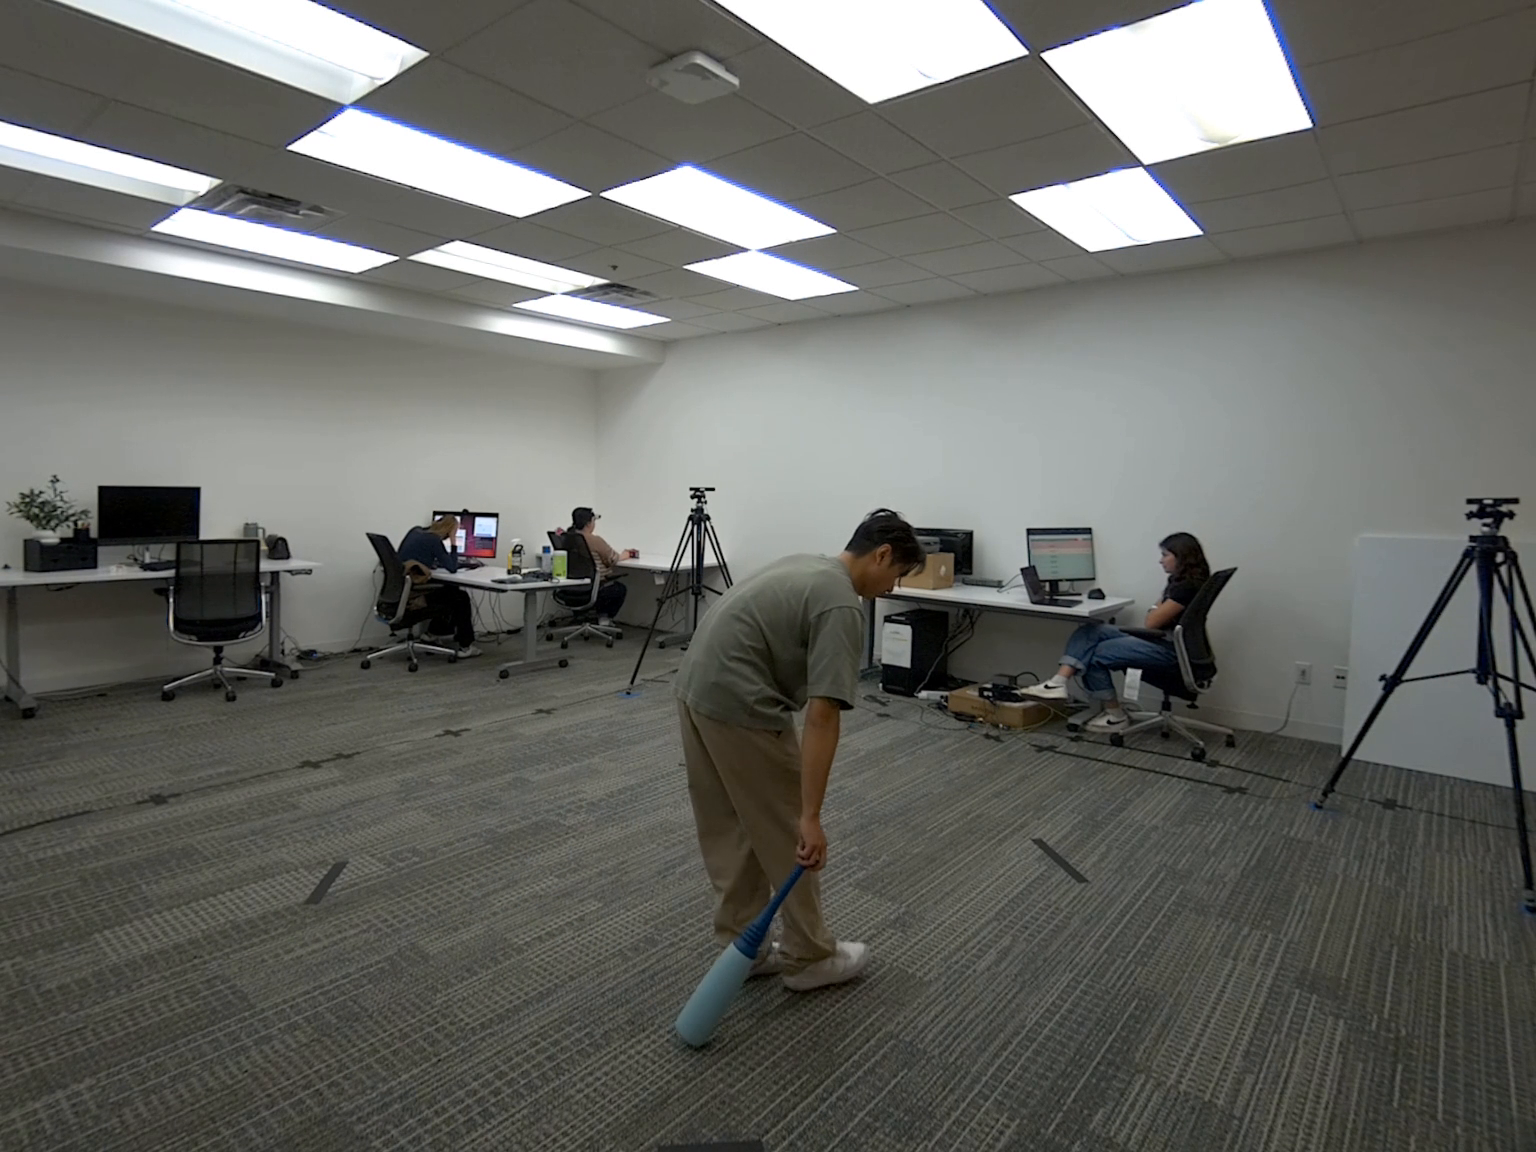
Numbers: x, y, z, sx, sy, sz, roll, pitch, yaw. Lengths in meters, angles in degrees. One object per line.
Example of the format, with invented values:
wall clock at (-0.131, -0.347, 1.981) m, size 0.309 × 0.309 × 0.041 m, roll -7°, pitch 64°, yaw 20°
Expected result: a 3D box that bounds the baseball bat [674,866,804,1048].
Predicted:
baseball bat at (-0.060, 0.932, 2.155) m, size 0.089 × 0.543 × 0.088 m, roll 35°, pitch -6°, yaw 2°
